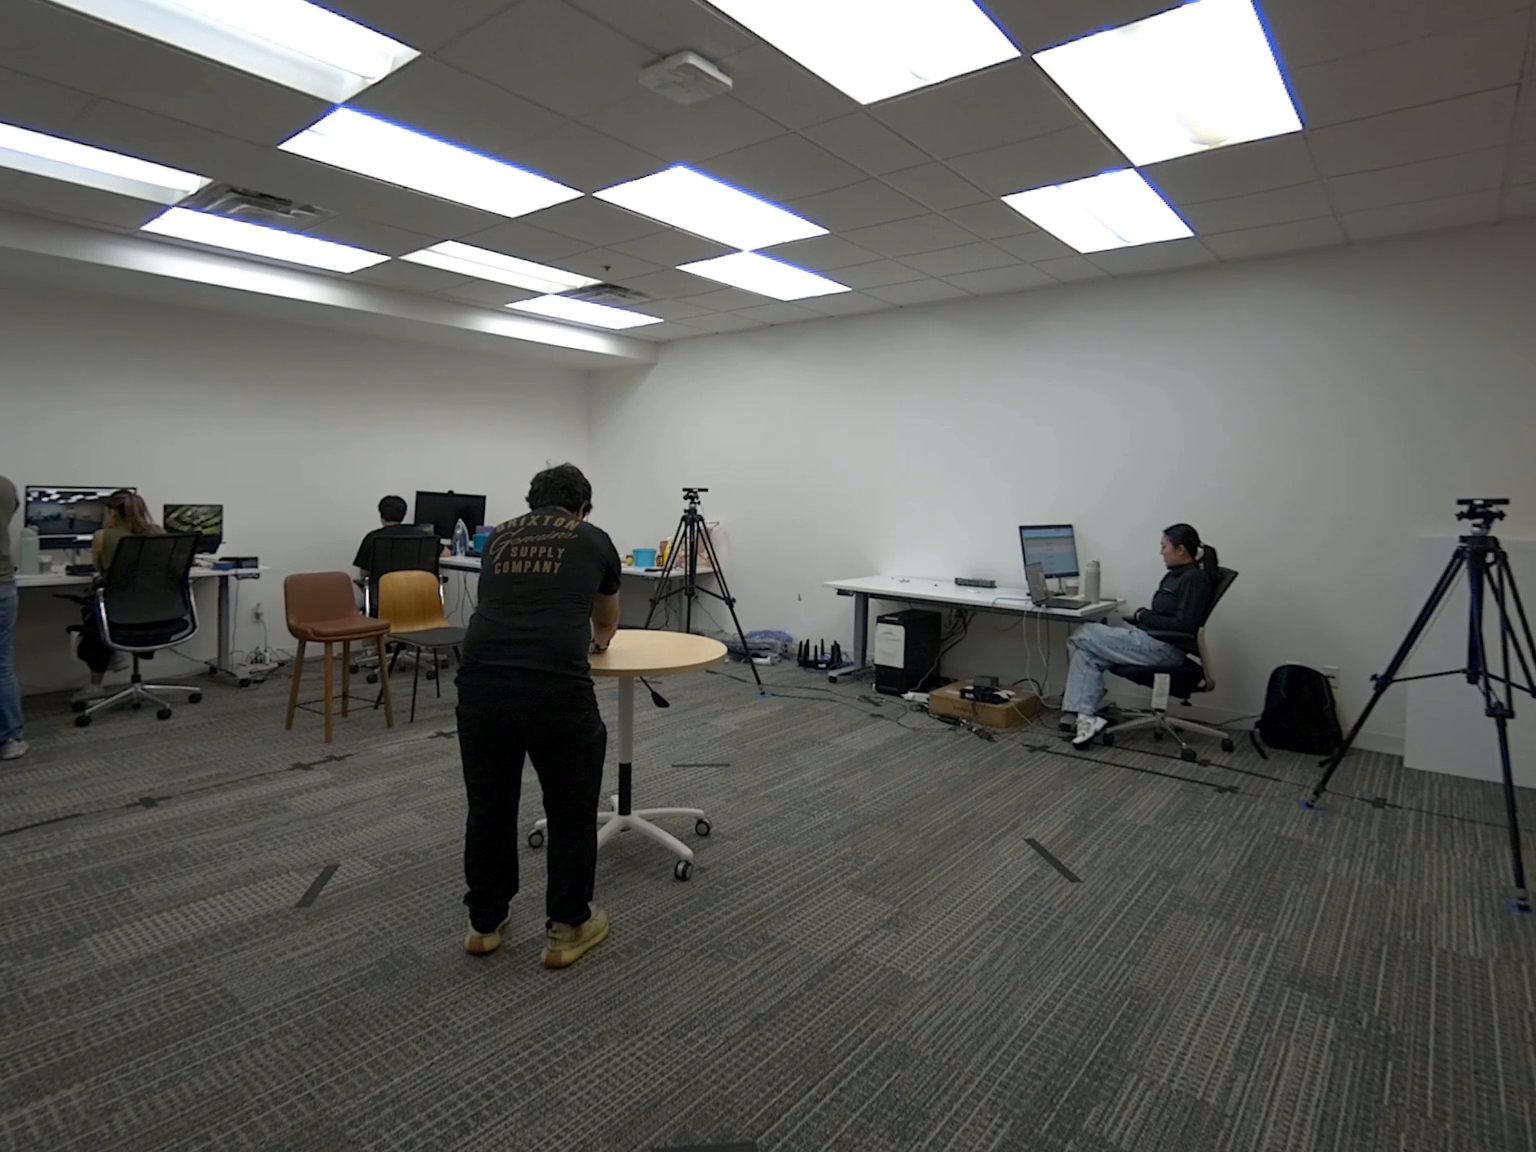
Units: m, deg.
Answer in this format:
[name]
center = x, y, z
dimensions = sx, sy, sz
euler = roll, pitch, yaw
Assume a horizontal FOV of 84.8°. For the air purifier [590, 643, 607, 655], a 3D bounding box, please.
[air purifier]
center = -0.699, 0.139, 3.154
dimensions = 0.172, 0.265, 0.171
euler = 0, 3, 3
